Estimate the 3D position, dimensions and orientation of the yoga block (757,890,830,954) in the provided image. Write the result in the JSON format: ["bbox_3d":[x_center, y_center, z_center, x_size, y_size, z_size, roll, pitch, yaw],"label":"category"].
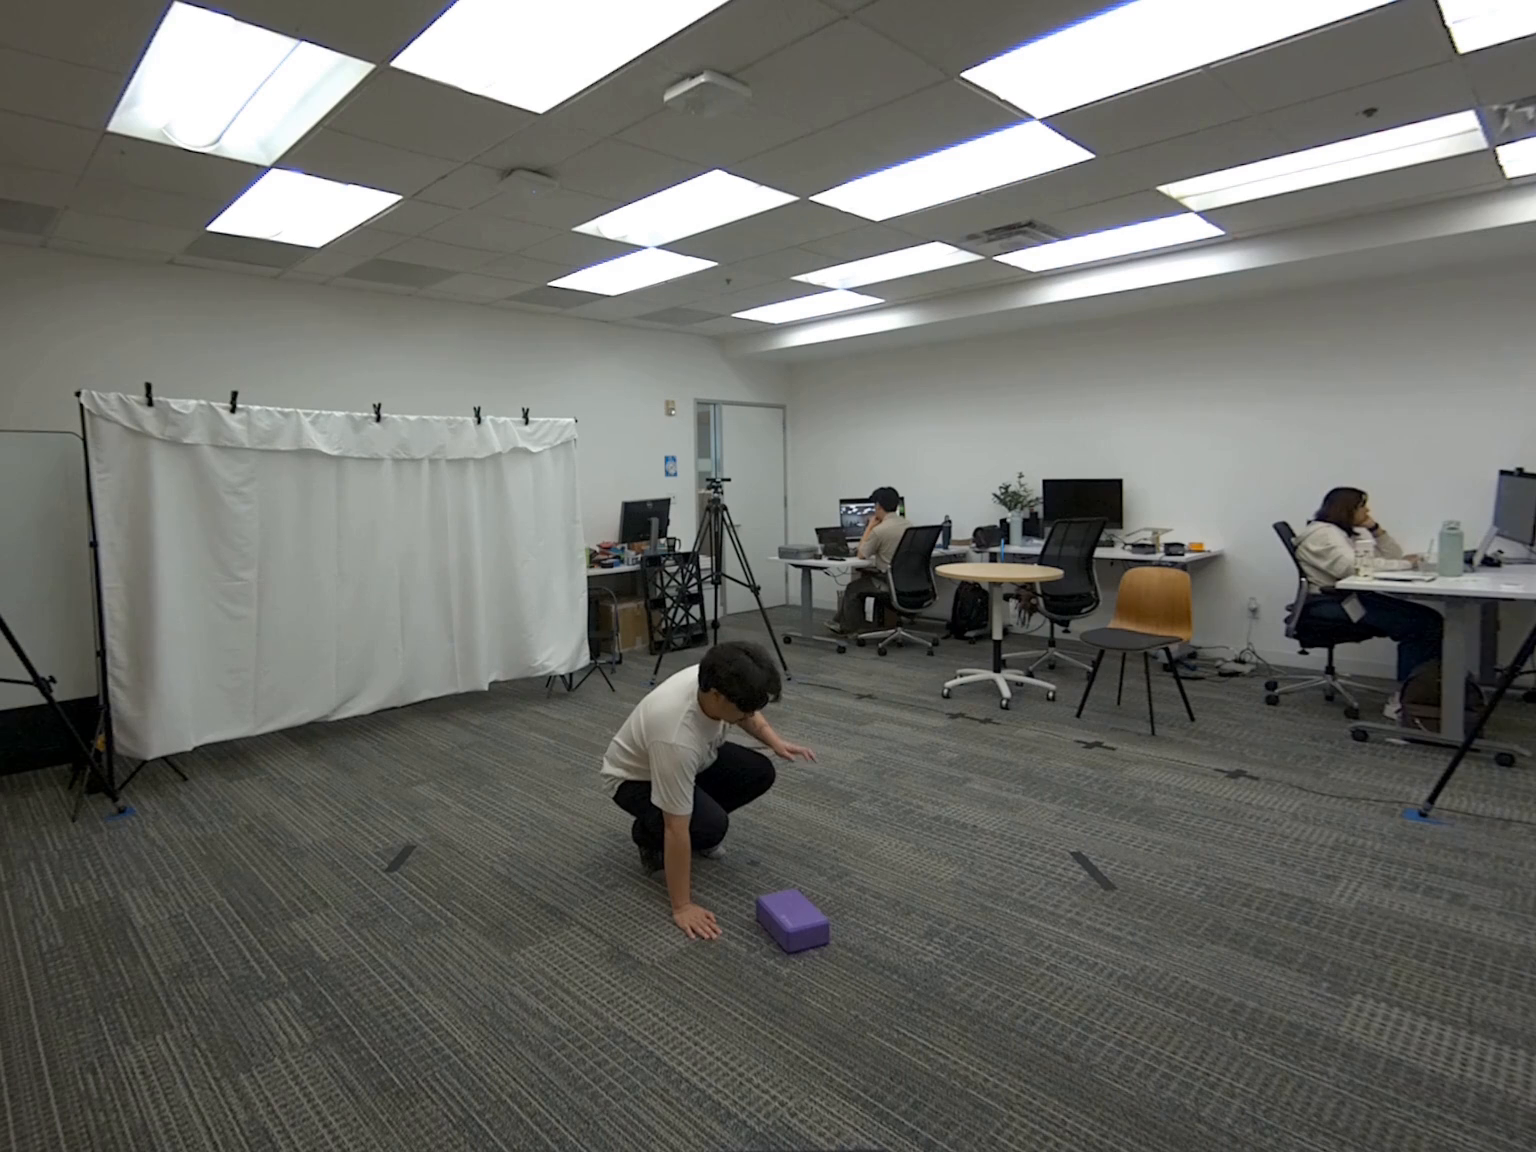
[{"bbox_3d":[0.078,1.055,2.633,0.146,0.076,0.235,-4,7,-23],"label":"yoga block"}]
